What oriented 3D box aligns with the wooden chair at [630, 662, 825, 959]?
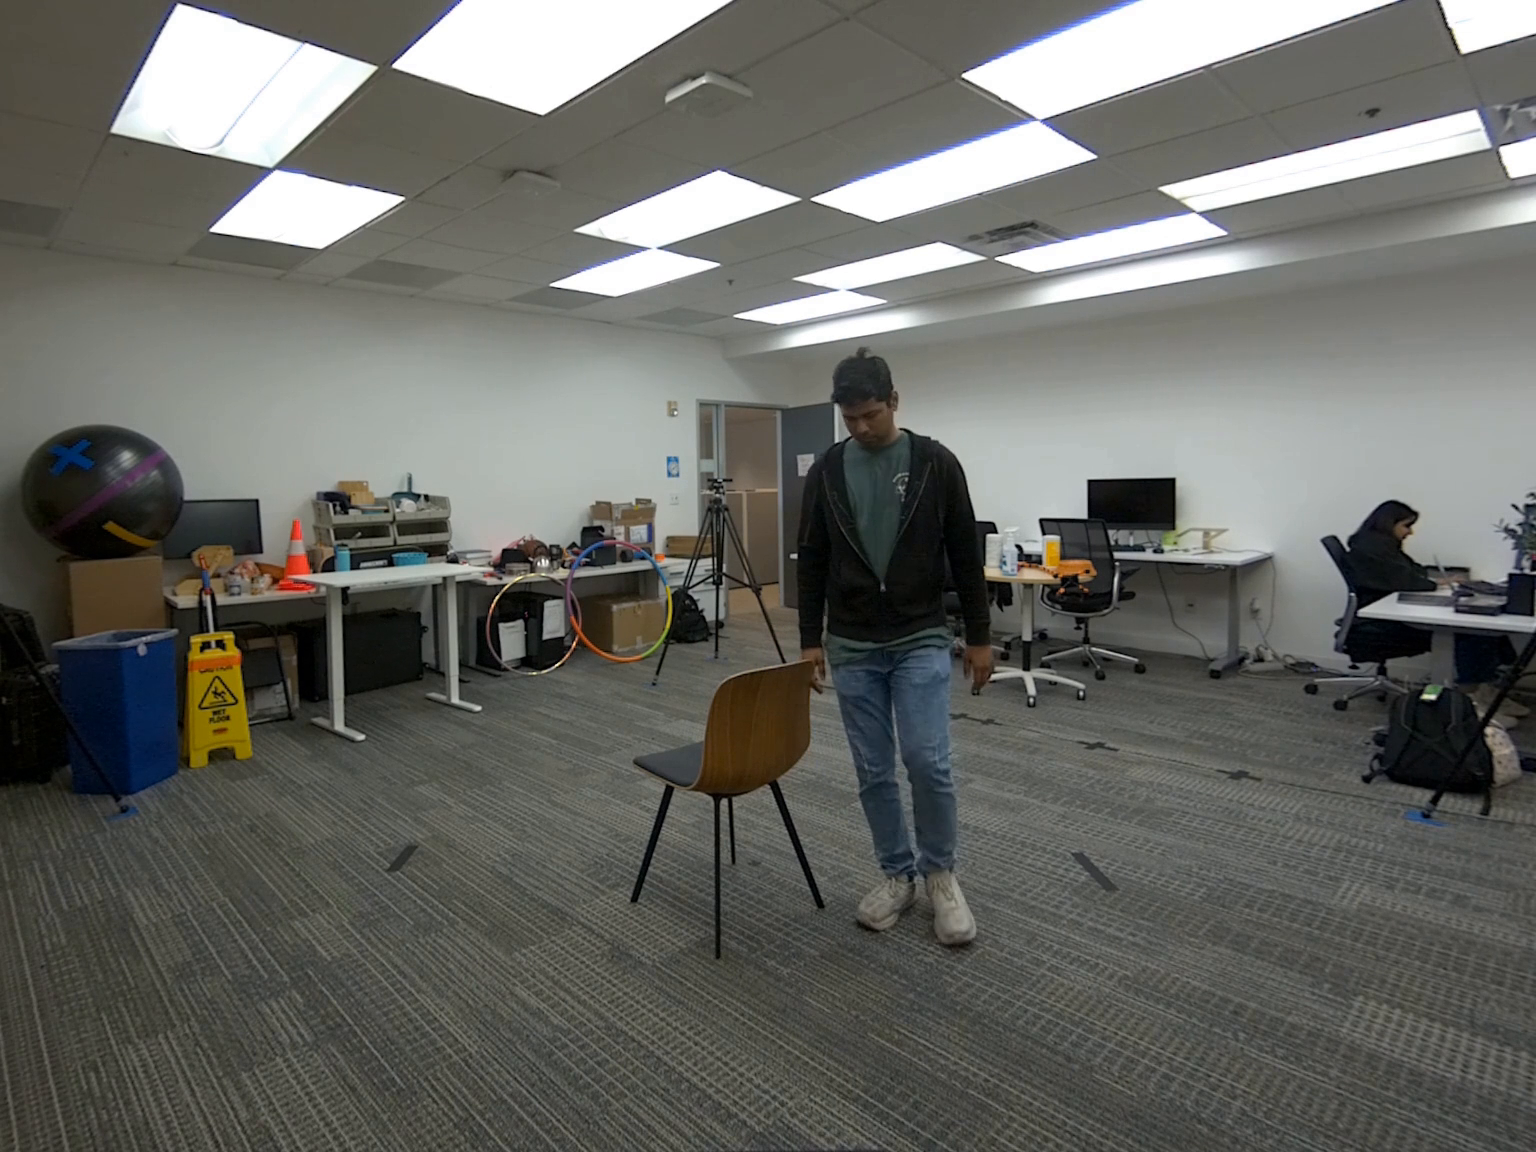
[{"bbox_3d":[-0.145,0.659,2.777,0.466,0.871,0.541,-5,11,-41],"label":"wooden chair"}]
